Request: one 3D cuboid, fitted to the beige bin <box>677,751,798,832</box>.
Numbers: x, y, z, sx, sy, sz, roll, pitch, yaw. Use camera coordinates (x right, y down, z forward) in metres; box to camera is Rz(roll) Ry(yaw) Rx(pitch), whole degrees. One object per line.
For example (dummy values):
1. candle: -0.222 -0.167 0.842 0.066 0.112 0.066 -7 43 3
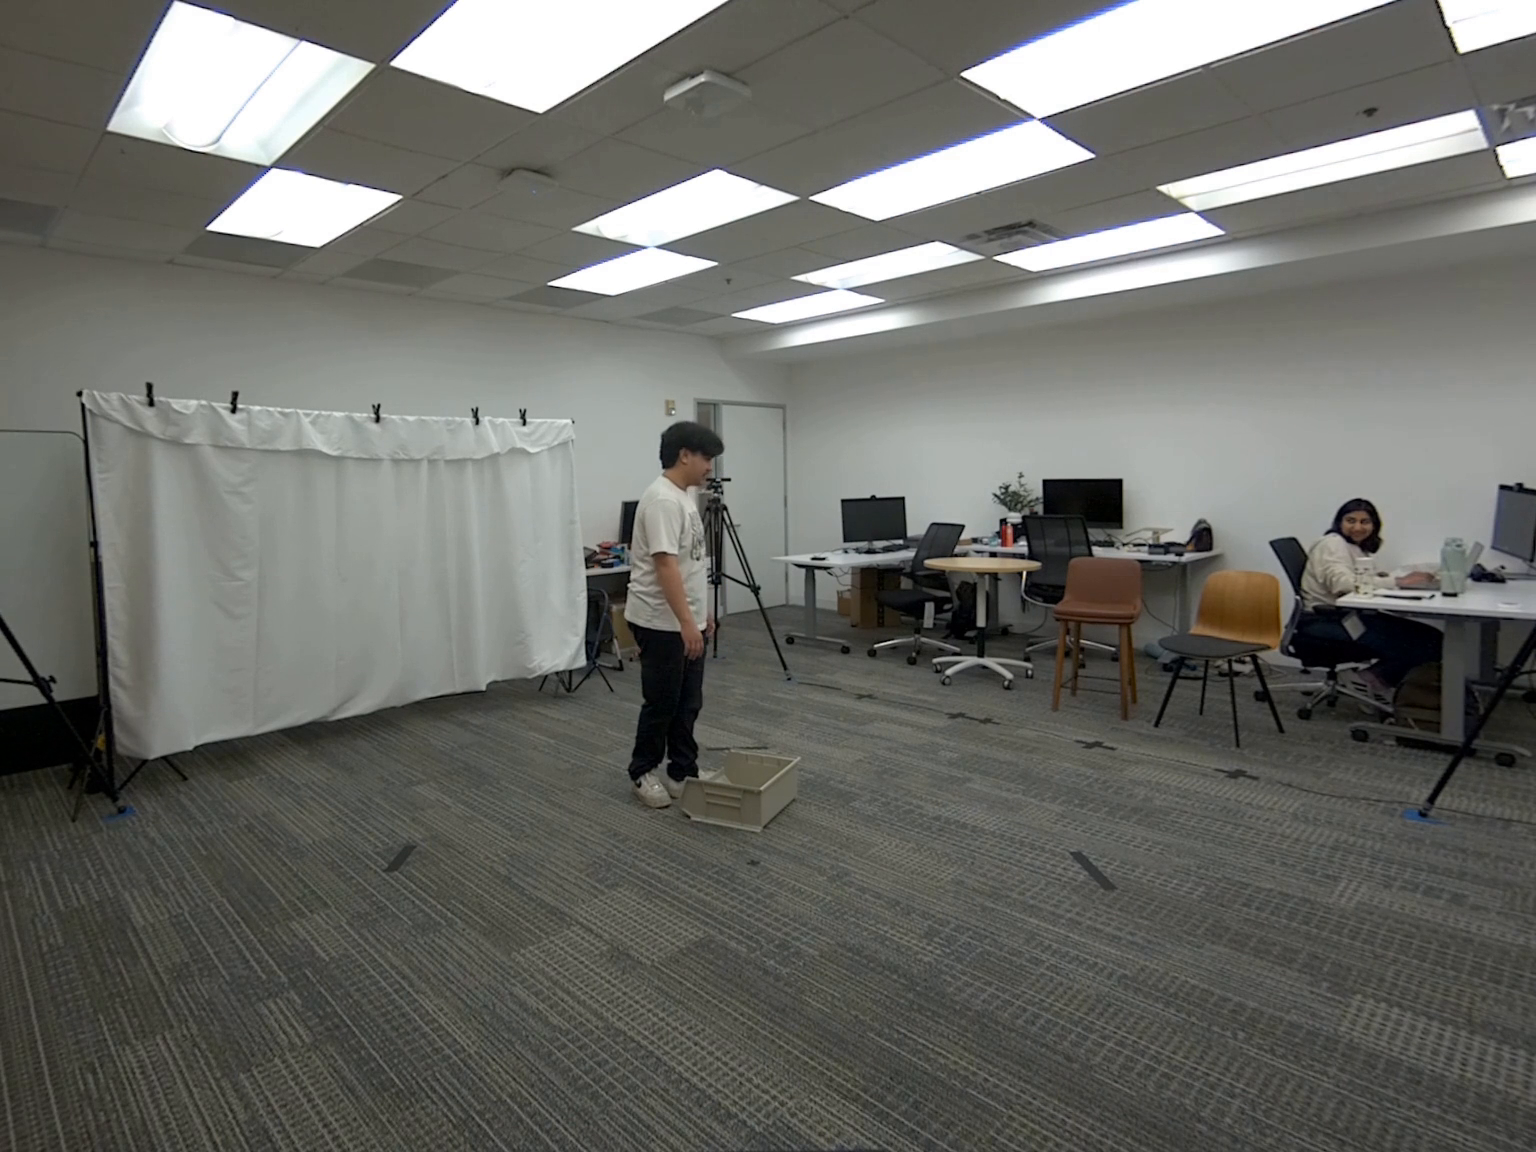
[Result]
1. beige bin: -0.109 0.895 3.620 0.386 0.188 0.414 3 7 25
